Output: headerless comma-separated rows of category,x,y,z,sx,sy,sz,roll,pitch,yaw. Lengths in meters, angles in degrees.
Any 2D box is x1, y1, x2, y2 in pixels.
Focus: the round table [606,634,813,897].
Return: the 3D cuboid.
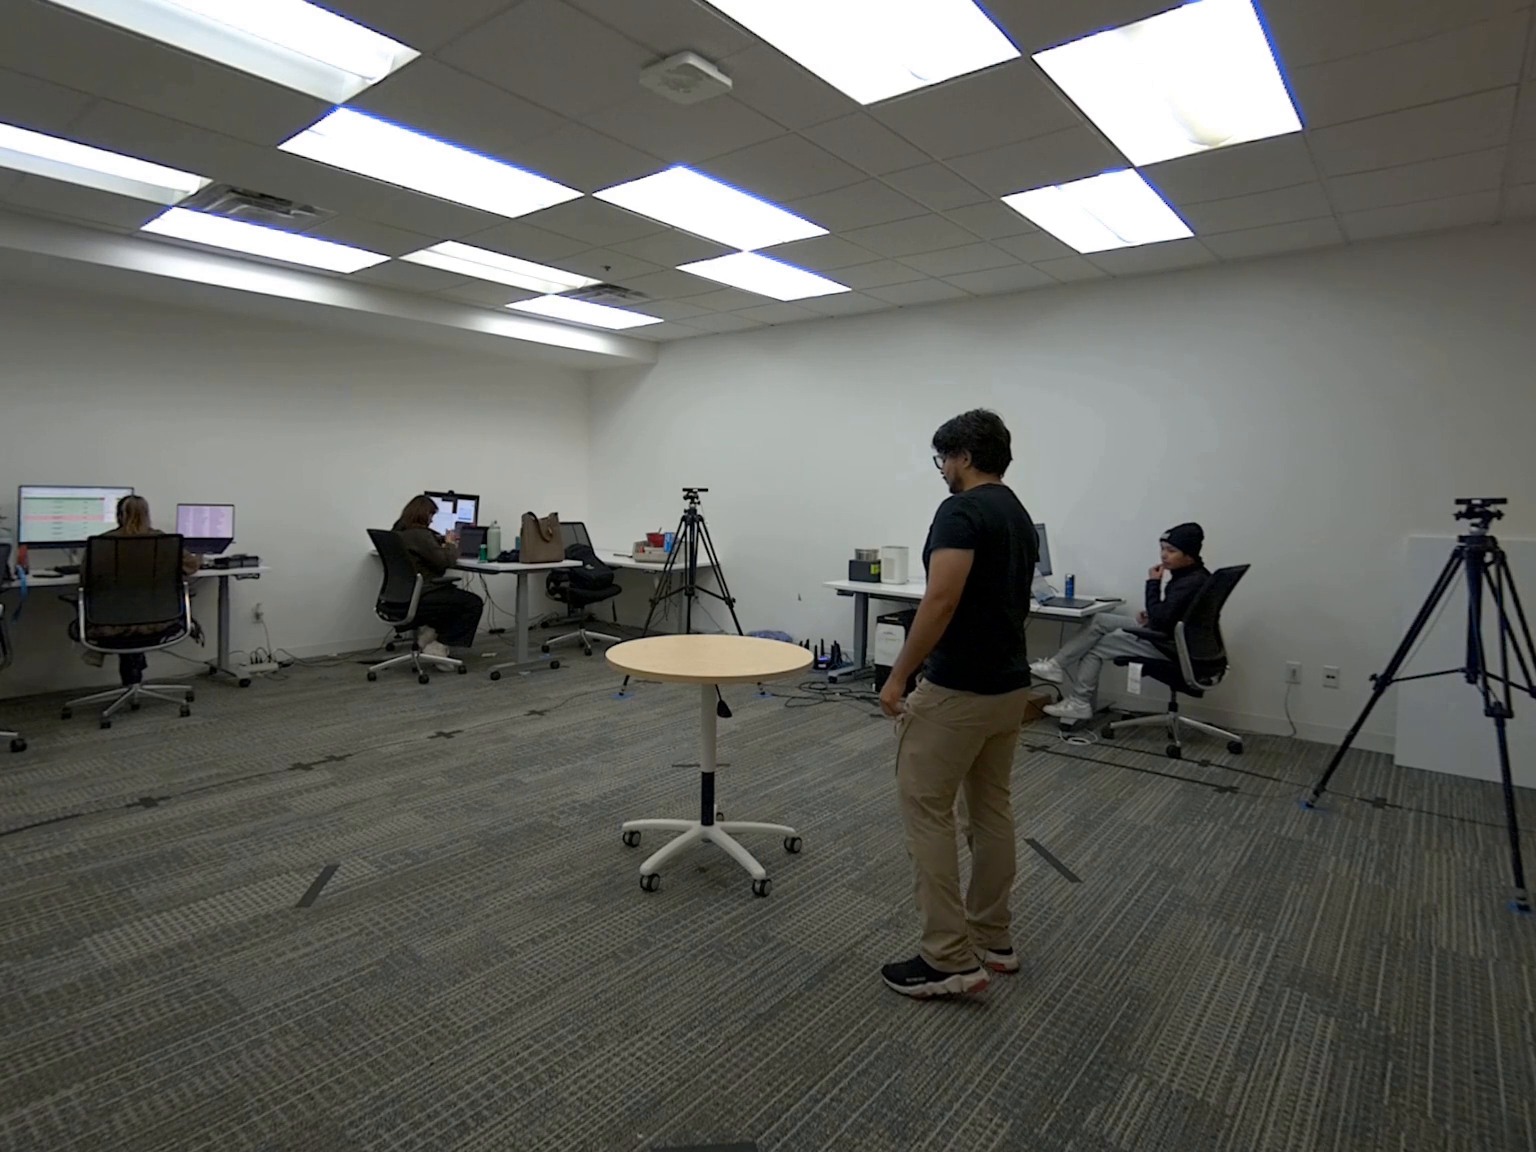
round table,-0.243,0.671,3.158,0.784,0.784,0.789,1,4,-2
